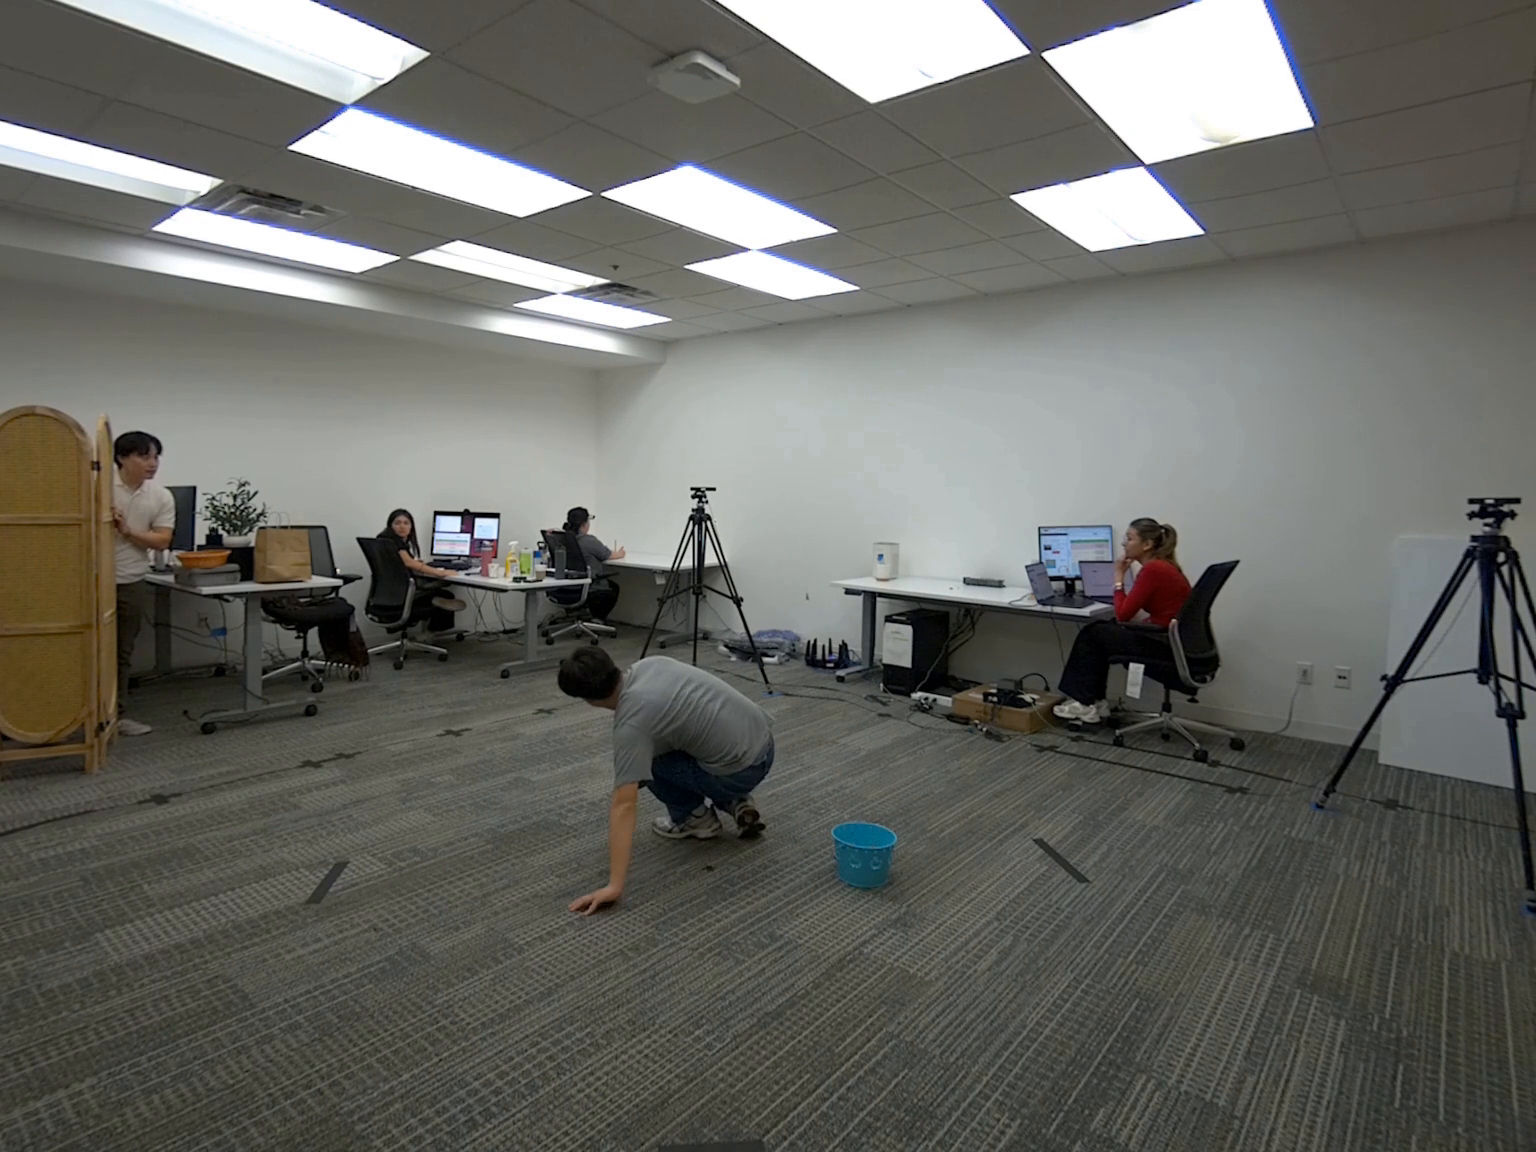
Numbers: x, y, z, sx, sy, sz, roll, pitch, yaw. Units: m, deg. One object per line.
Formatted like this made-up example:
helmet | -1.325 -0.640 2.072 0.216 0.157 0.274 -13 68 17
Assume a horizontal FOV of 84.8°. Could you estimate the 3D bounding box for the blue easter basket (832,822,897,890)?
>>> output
blue easter basket | 0.337 1.006 3.077 0.243 0.155 0.245 1 5 -2
